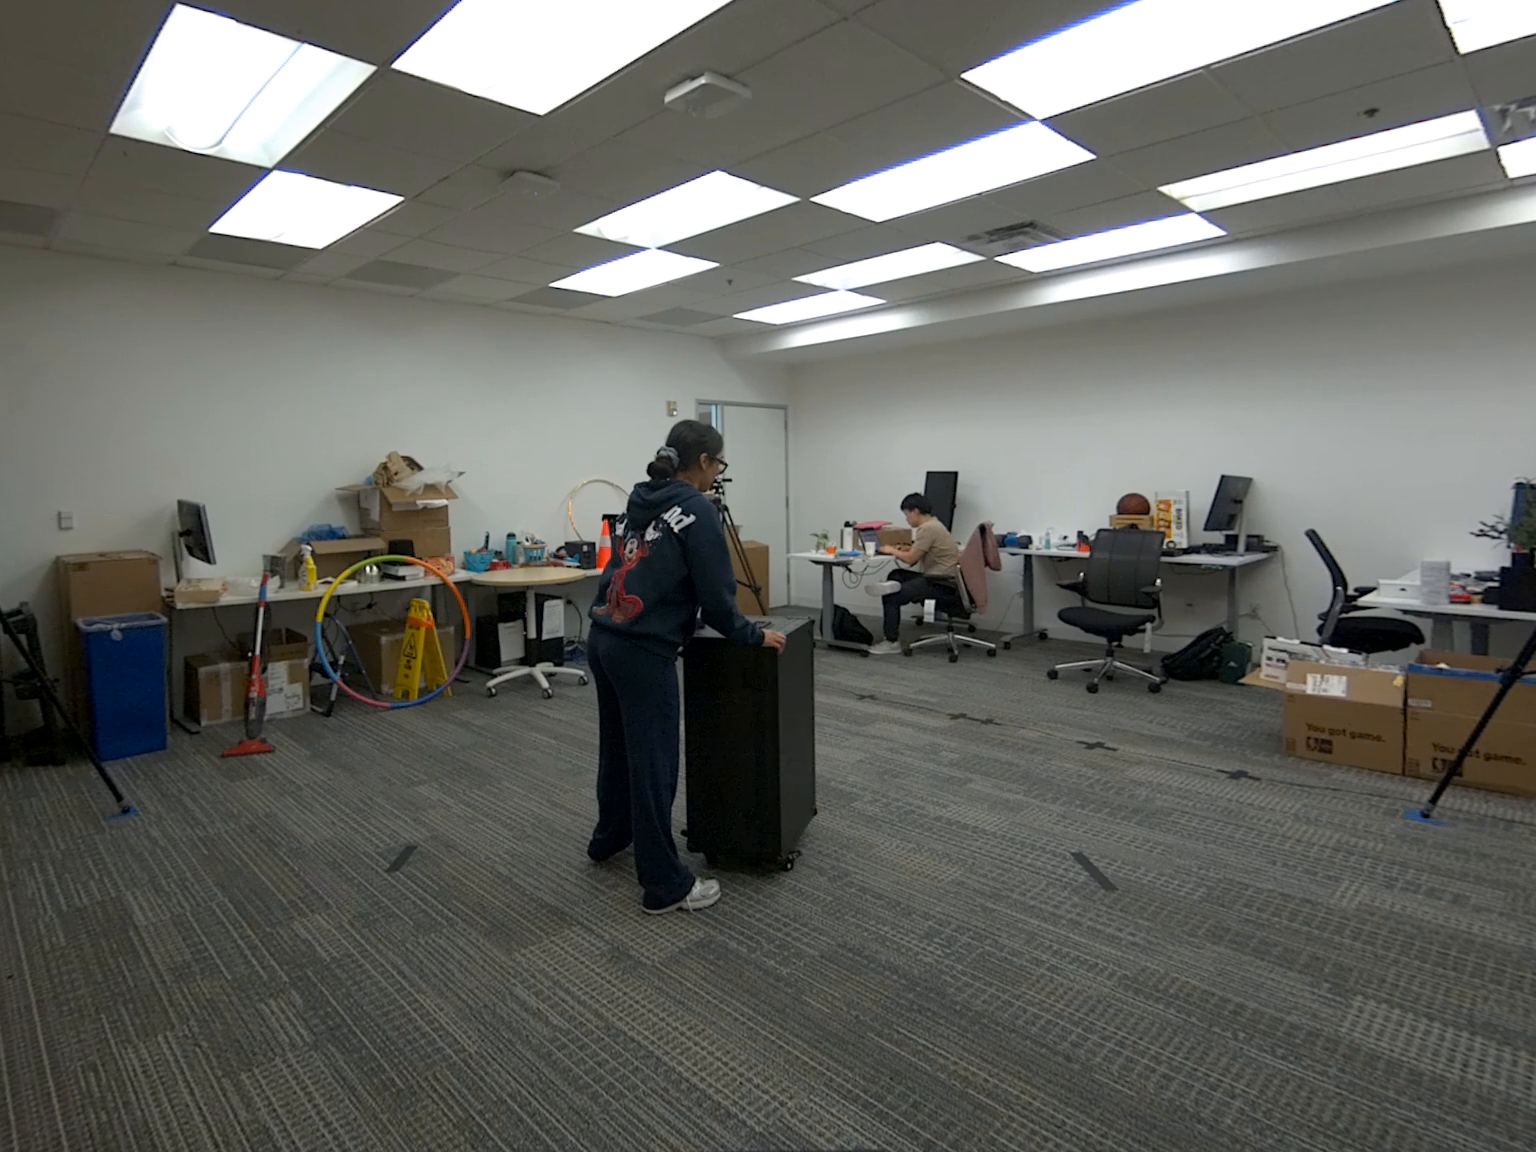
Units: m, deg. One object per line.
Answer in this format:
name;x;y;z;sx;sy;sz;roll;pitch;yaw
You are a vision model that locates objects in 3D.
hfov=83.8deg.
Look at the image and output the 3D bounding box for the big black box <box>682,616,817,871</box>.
big black box;-0.059;0.608;3.196;0.404;0.858;0.514;1;5;19
